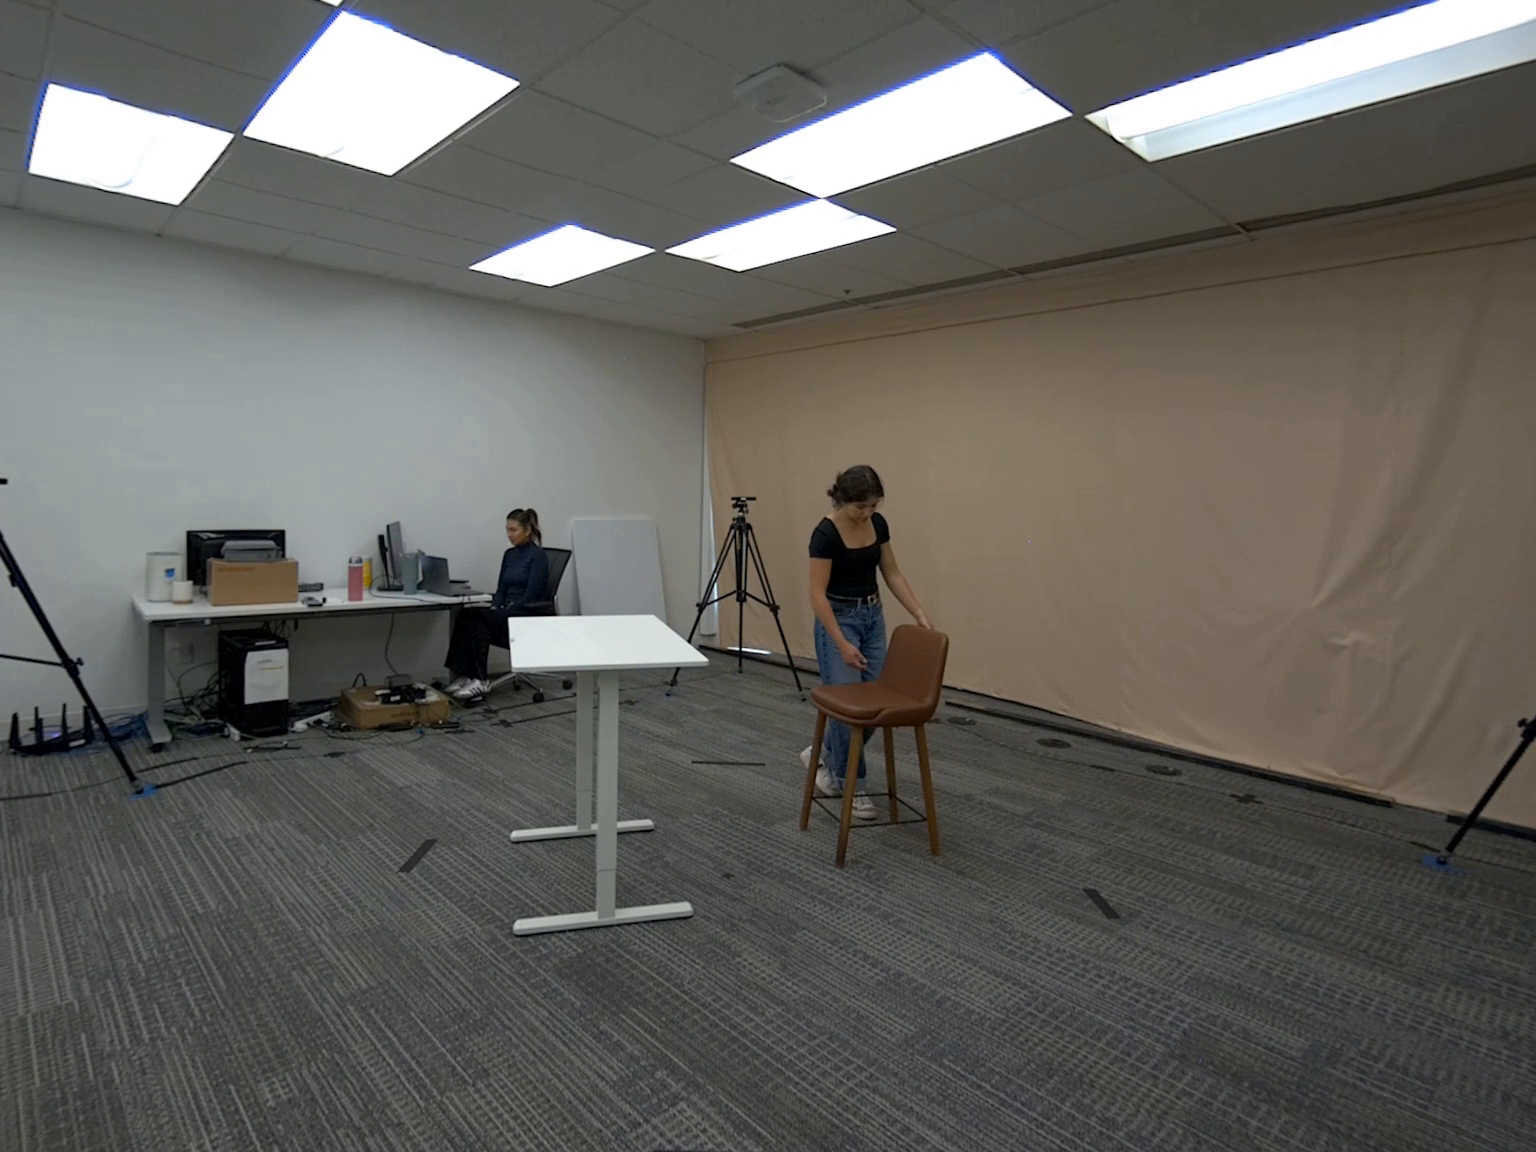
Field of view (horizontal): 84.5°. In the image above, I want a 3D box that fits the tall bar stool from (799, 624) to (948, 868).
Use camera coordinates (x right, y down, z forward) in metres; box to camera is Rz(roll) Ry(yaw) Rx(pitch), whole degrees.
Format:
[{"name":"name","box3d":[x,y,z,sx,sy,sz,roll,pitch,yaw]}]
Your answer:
[{"name":"tall bar stool","box3d":[0.412,0.659,3.426,0.461,0.888,0.464,2,3,-18]}]
